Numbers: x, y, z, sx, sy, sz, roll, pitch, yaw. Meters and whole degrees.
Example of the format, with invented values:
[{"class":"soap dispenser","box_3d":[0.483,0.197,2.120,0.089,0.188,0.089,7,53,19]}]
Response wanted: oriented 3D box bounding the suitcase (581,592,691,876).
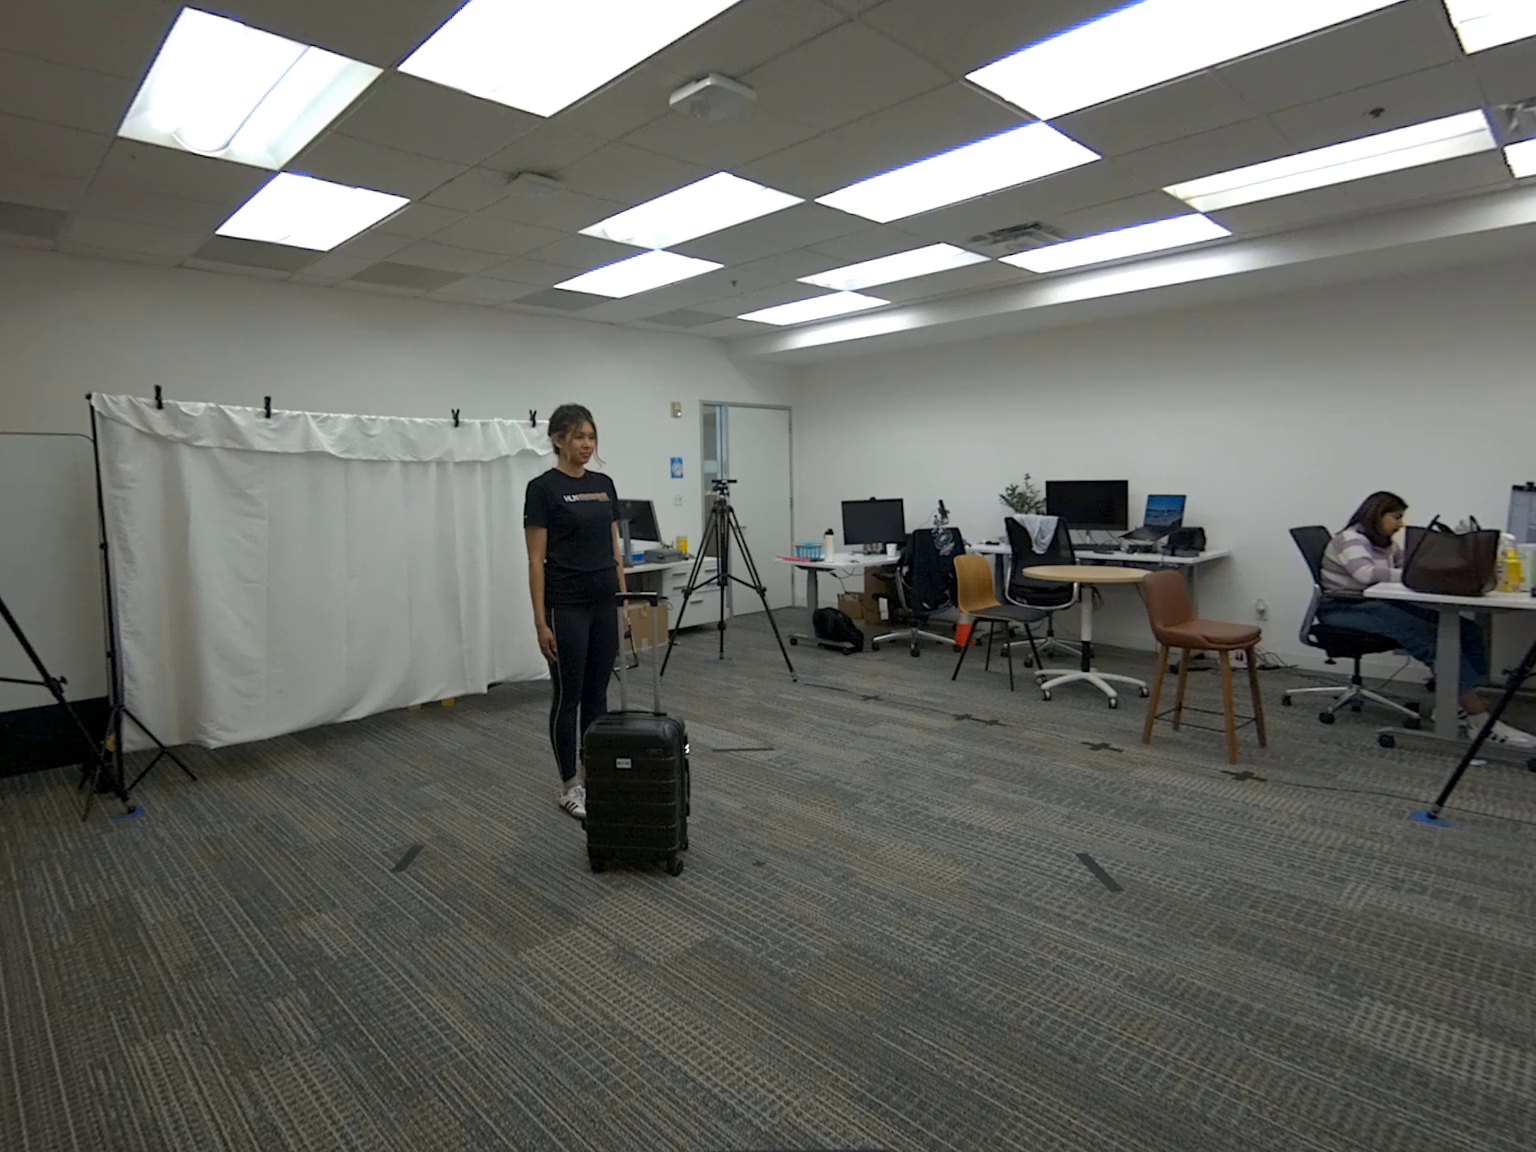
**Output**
[{"class":"suitcase","box_3d":[-0.484,0.577,3.112,0.386,0.973,0.257,-1,6,5]}]
